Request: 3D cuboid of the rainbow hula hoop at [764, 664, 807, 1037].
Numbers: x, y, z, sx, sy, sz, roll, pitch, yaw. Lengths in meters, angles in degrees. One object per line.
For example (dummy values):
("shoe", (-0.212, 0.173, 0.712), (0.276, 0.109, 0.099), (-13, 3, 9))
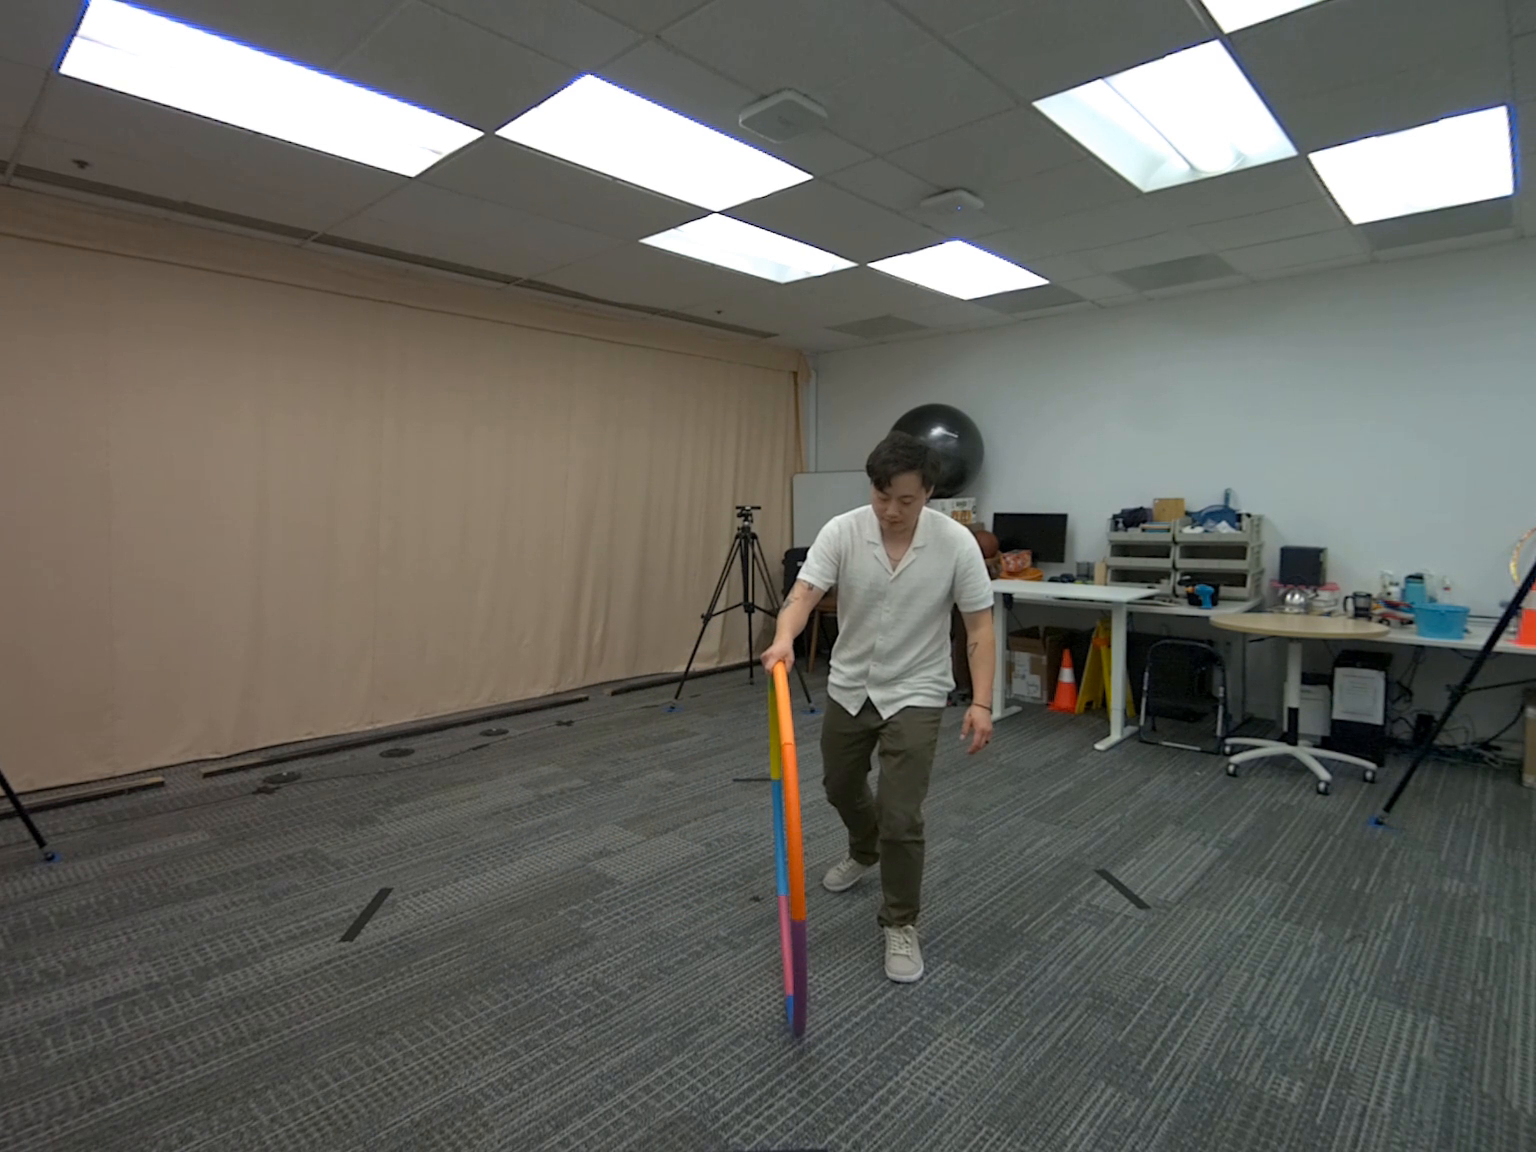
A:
("rainbow hula hoop", (0.057, 0.720, 2.329), (0.035, 0.976, 0.981), (-4, 4, -2))
